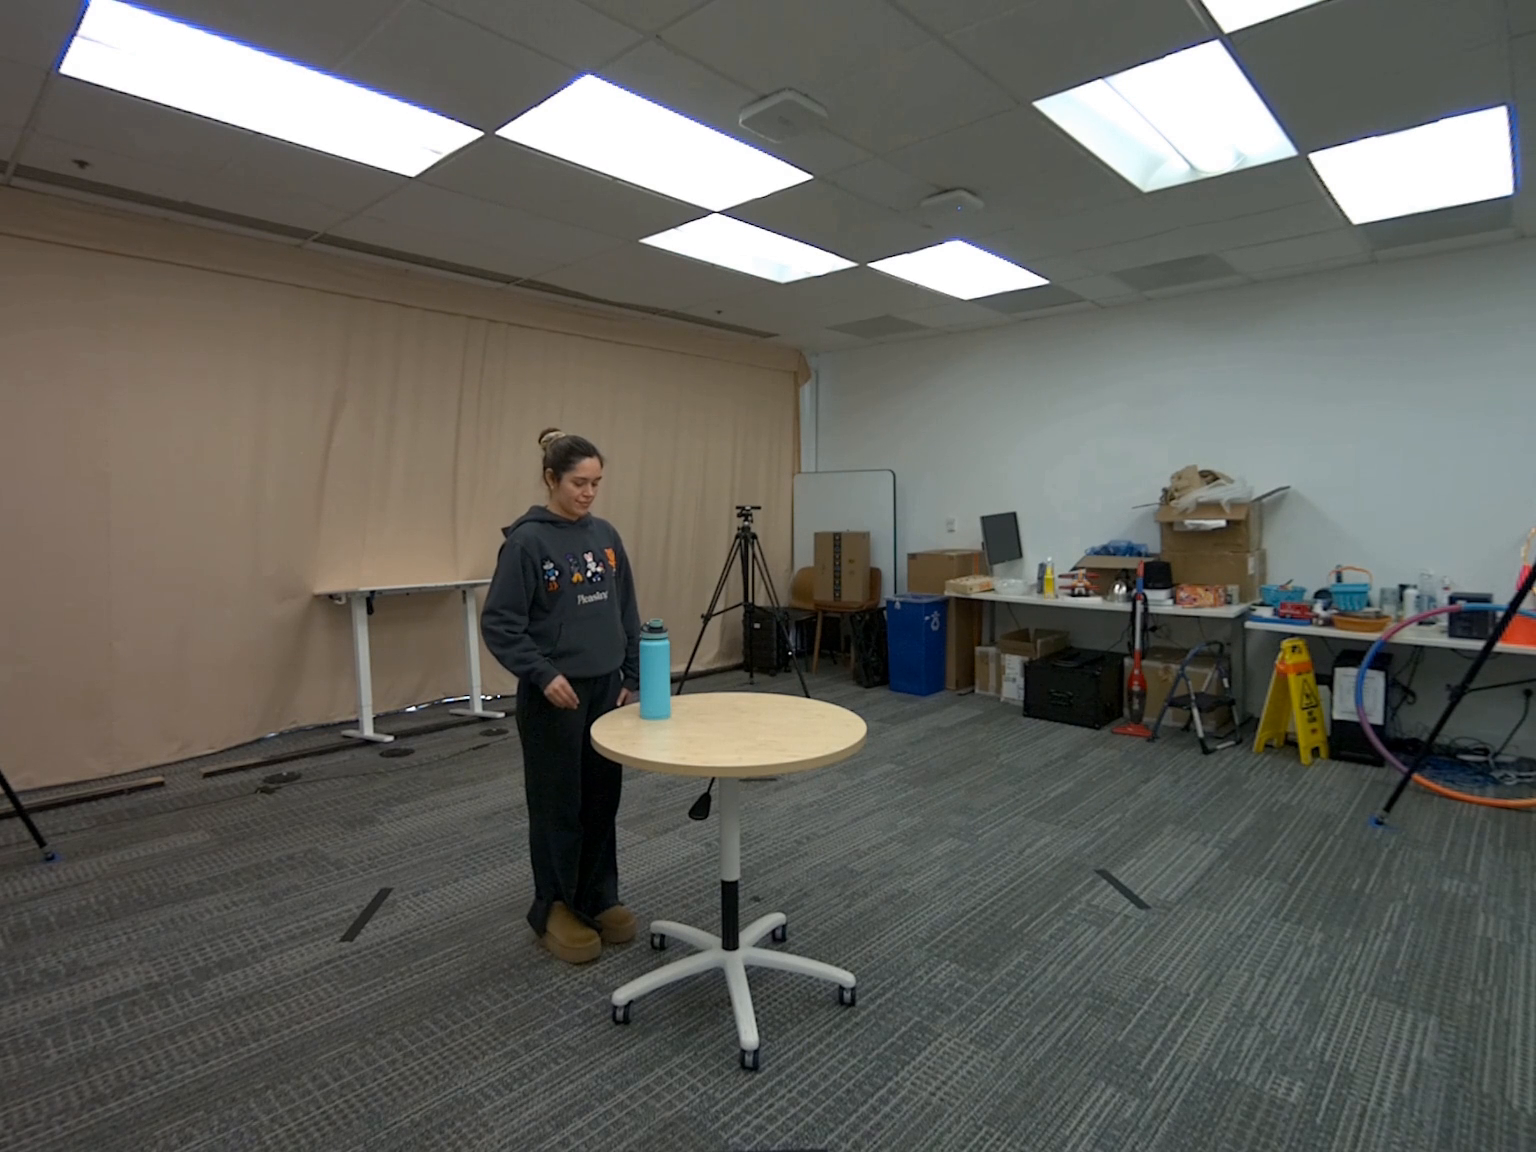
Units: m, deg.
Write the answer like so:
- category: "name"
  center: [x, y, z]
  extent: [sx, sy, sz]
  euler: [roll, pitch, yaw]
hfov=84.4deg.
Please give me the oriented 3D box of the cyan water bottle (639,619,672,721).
- category: "cyan water bottle"
  center: [-0.322, 0.273, 2.444]
  extent: [0.092, 0.283, 0.092]
  euler: [-2, 3, -2]
